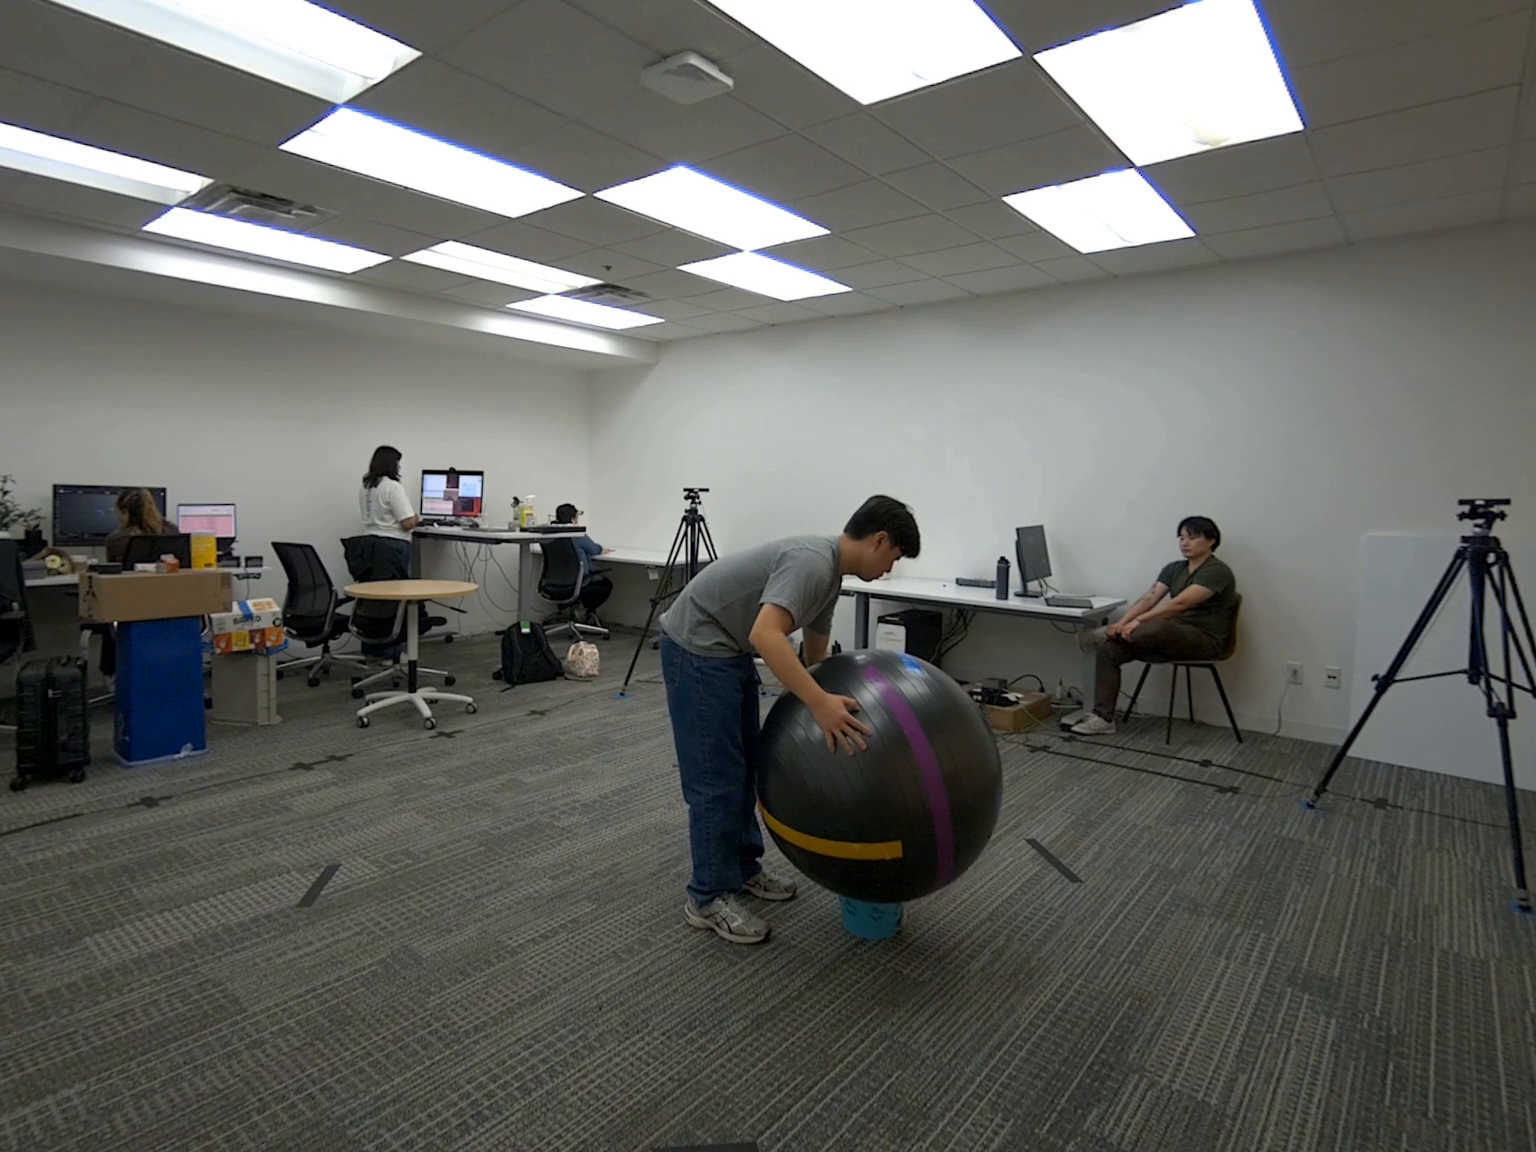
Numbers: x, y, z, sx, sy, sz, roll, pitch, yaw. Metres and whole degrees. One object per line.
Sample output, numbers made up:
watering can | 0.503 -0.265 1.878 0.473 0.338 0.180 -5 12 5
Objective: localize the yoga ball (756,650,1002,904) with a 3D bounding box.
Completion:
yoga ball | 0.333 0.617 2.656 0.757 0.756 0.761 1 4 -2
